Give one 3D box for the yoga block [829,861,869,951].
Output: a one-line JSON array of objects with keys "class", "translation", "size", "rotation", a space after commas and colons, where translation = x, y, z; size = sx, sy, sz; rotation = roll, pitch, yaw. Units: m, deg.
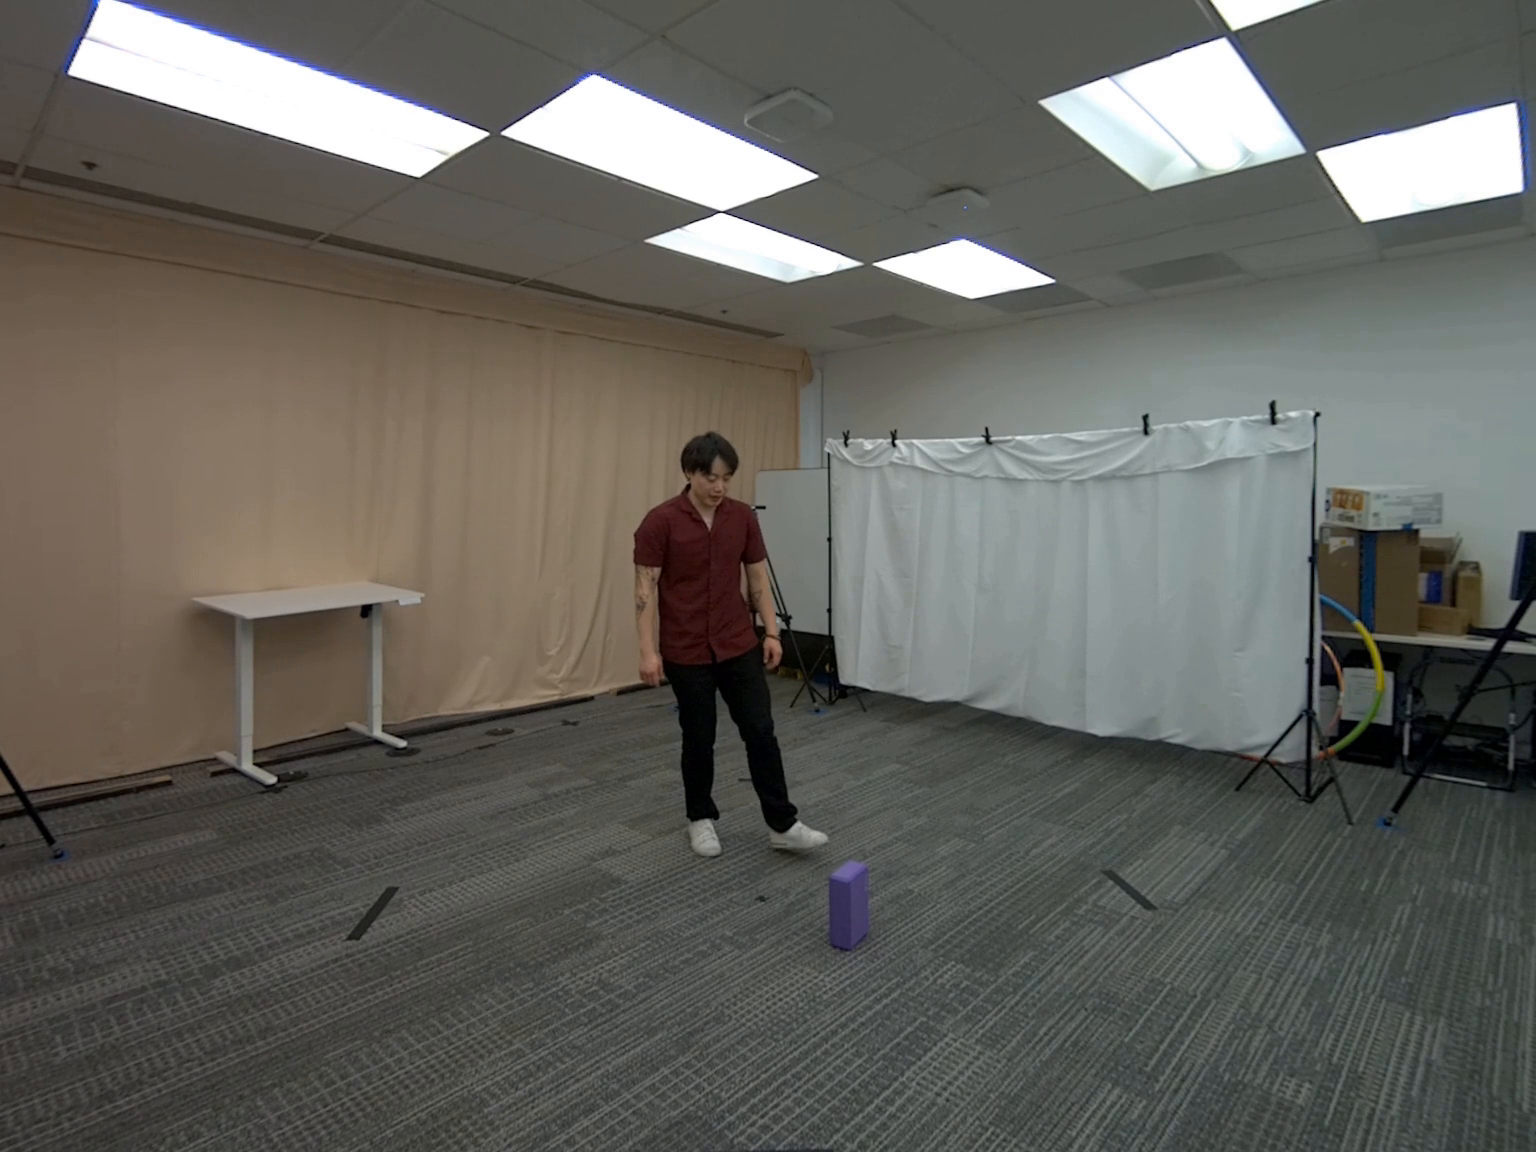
[{"class": "yoga block", "translation": [0.266, 1.052, 2.694], "size": [0.079, 0.229, 0.145], "rotation": [2, 4, 32]}]
